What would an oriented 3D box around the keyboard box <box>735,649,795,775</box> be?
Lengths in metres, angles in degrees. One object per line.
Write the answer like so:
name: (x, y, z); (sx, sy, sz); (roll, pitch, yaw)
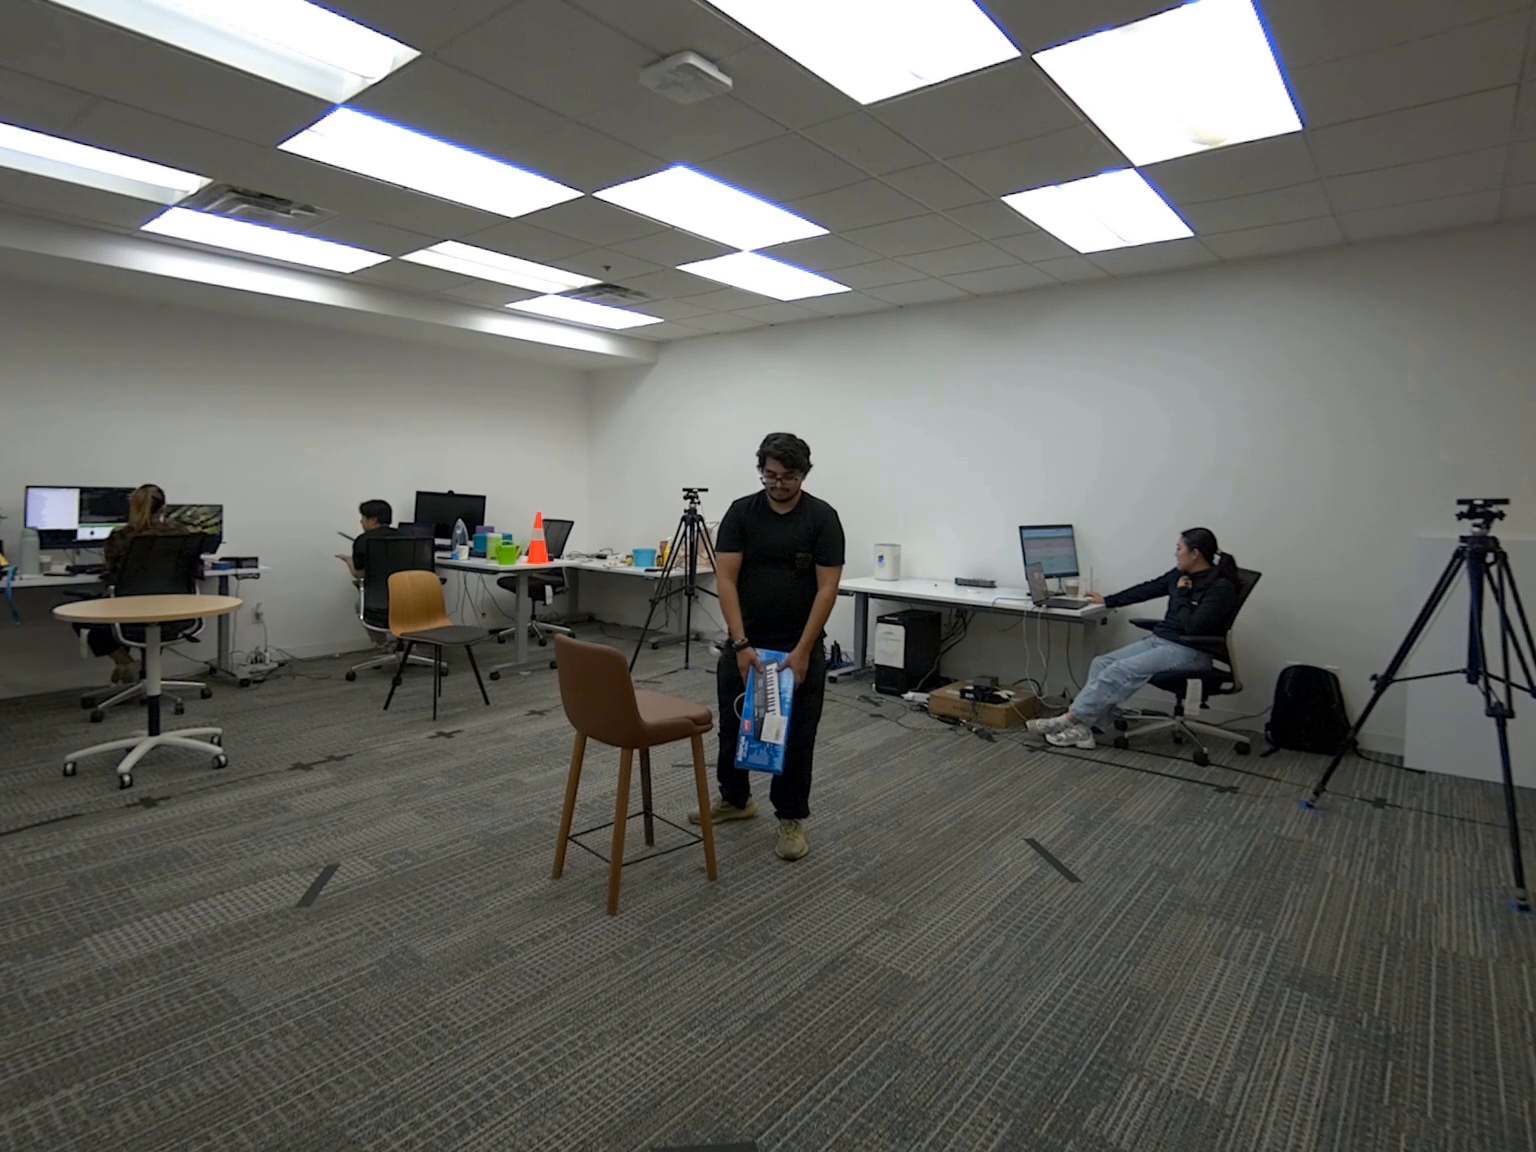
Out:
keyboard box: (-0.014, 0.491, 3.102); (0.177, 0.445, 0.058); (6, -26, 5)
